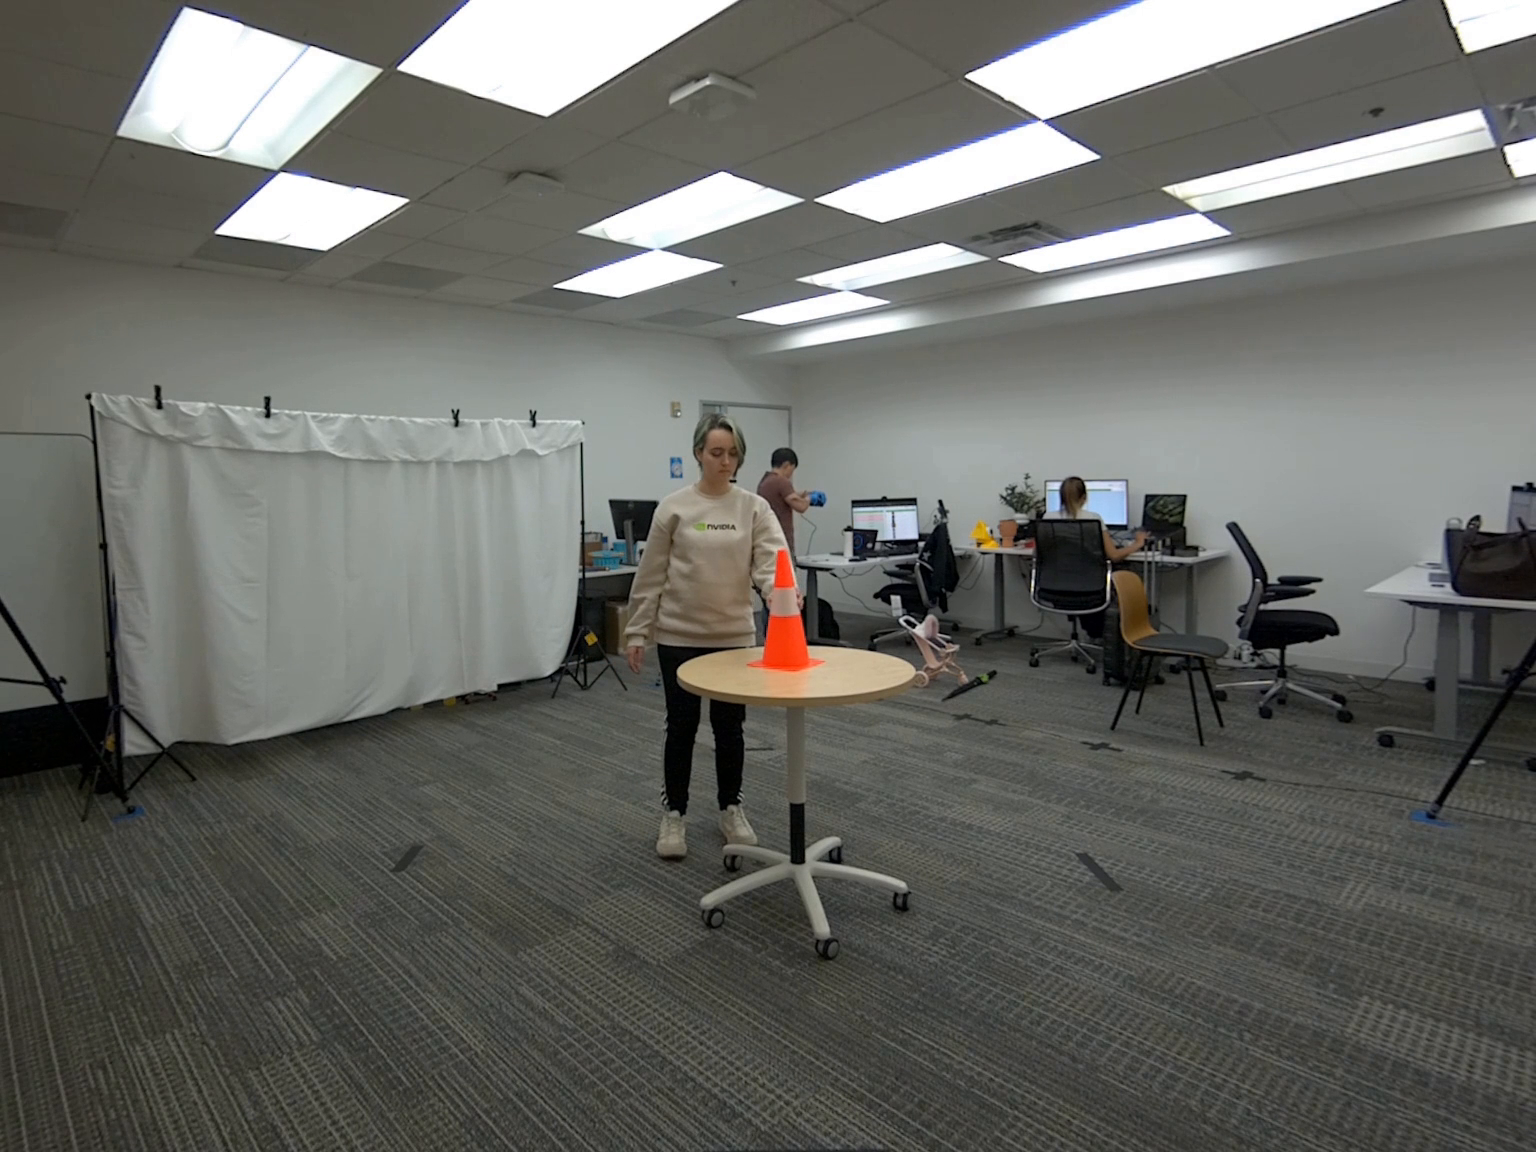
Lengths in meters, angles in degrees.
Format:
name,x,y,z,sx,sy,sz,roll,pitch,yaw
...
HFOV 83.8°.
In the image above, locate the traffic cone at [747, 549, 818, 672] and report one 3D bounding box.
name,x,y,z,sx,sy,sz,roll,pitch,yaw
traffic cone,0.054,0.100,2.833,0.209,0.382,0.200,1,5,31
